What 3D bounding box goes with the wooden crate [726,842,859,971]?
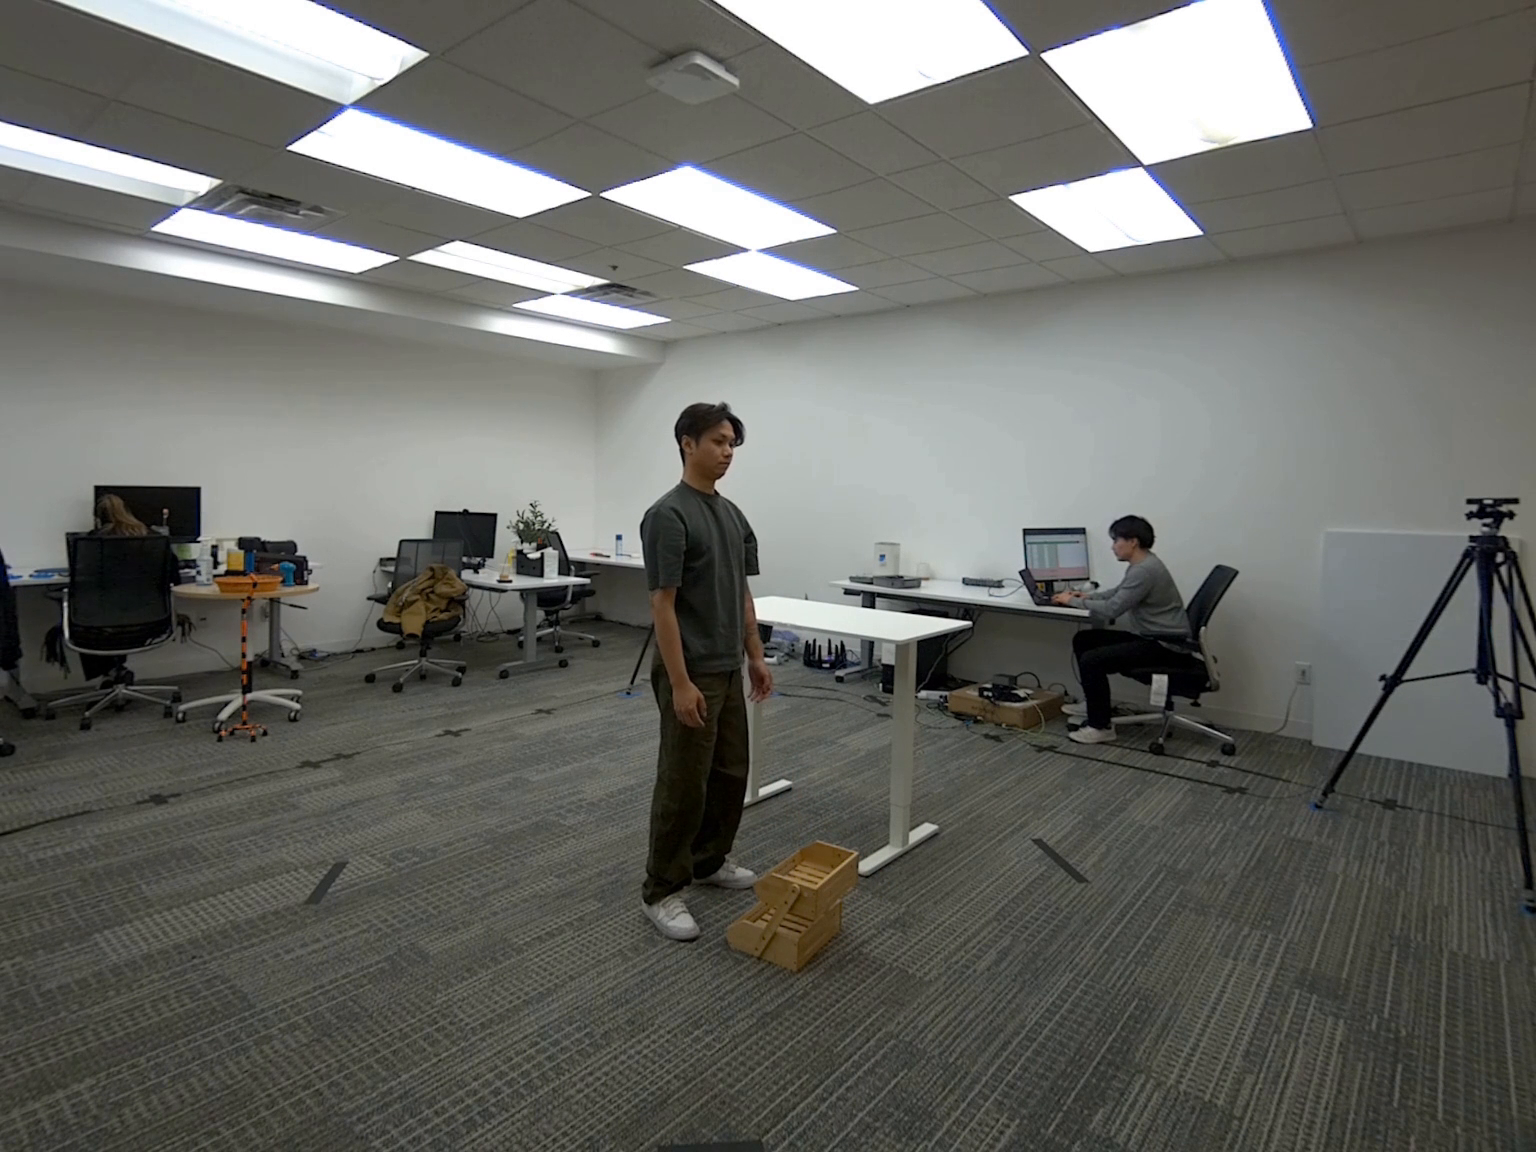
[{"bbox_3d":[0.062,0.978,2.630,0.311,0.272,0.316,6,6,31],"label":"wooden crate"}]
